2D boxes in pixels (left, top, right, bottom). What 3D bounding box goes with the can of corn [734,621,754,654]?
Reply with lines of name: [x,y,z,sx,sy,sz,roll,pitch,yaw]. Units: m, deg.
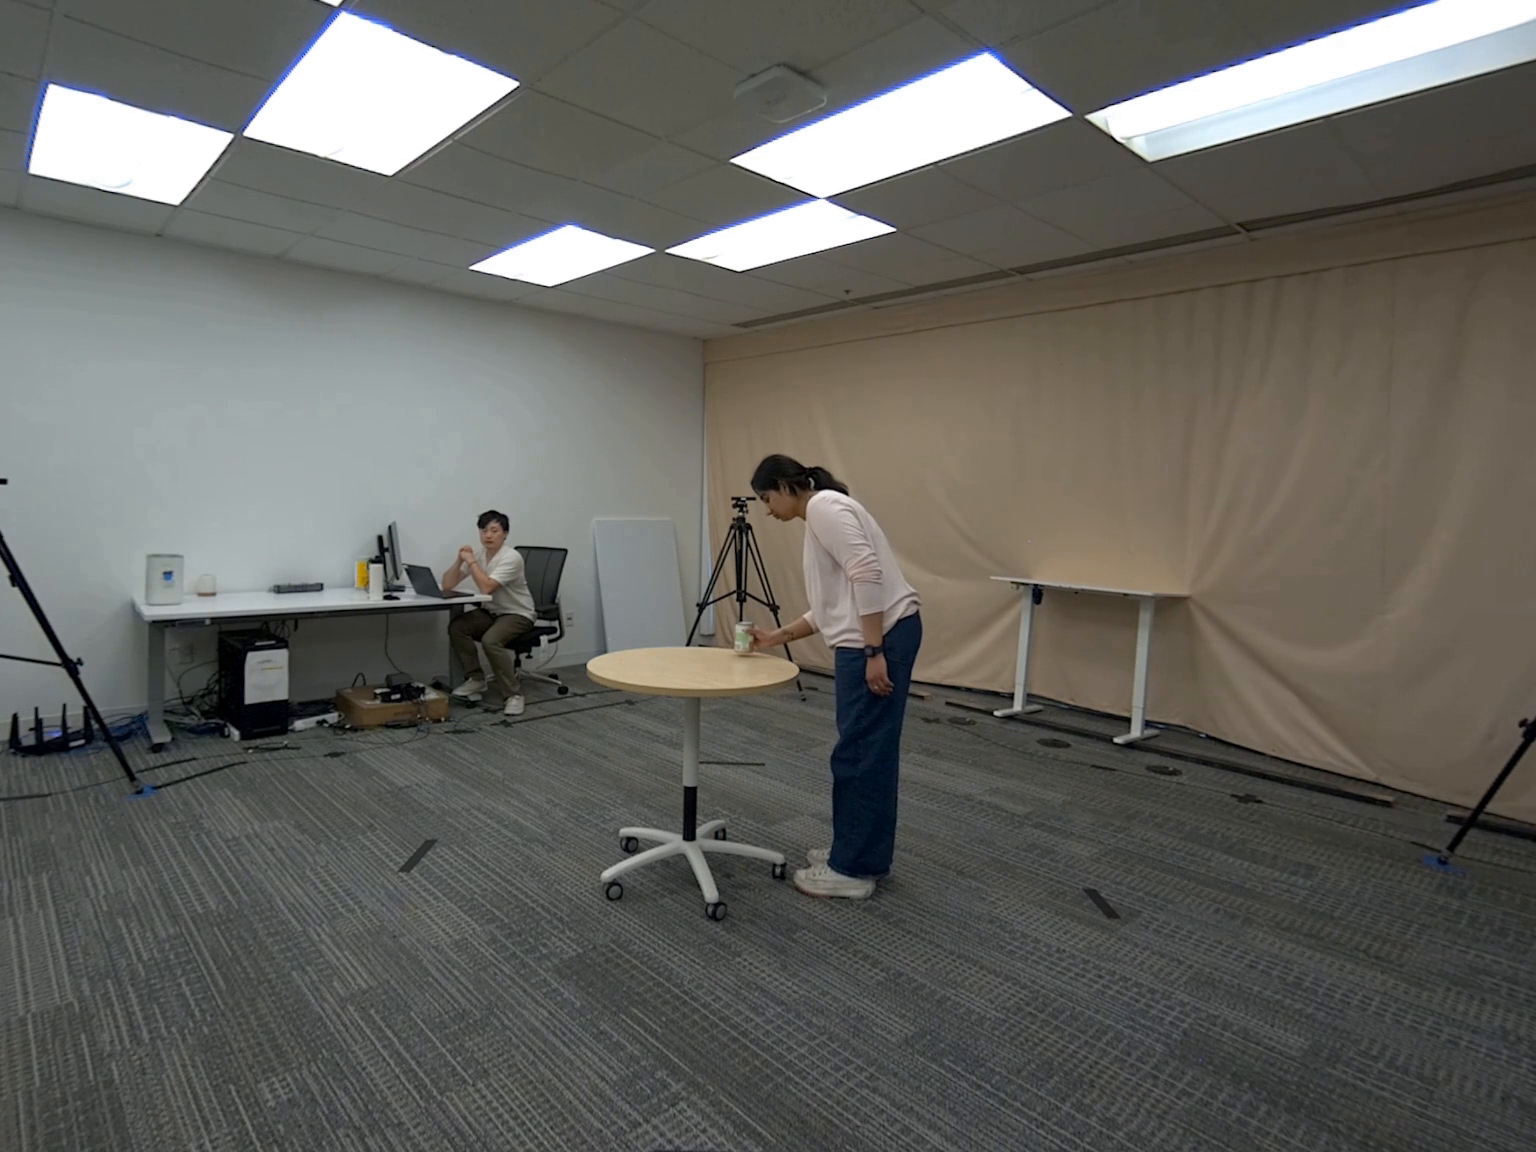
can of corn: [-0.095,0.239,3.255,0.074,0.111,0.074,3,5,-2]
